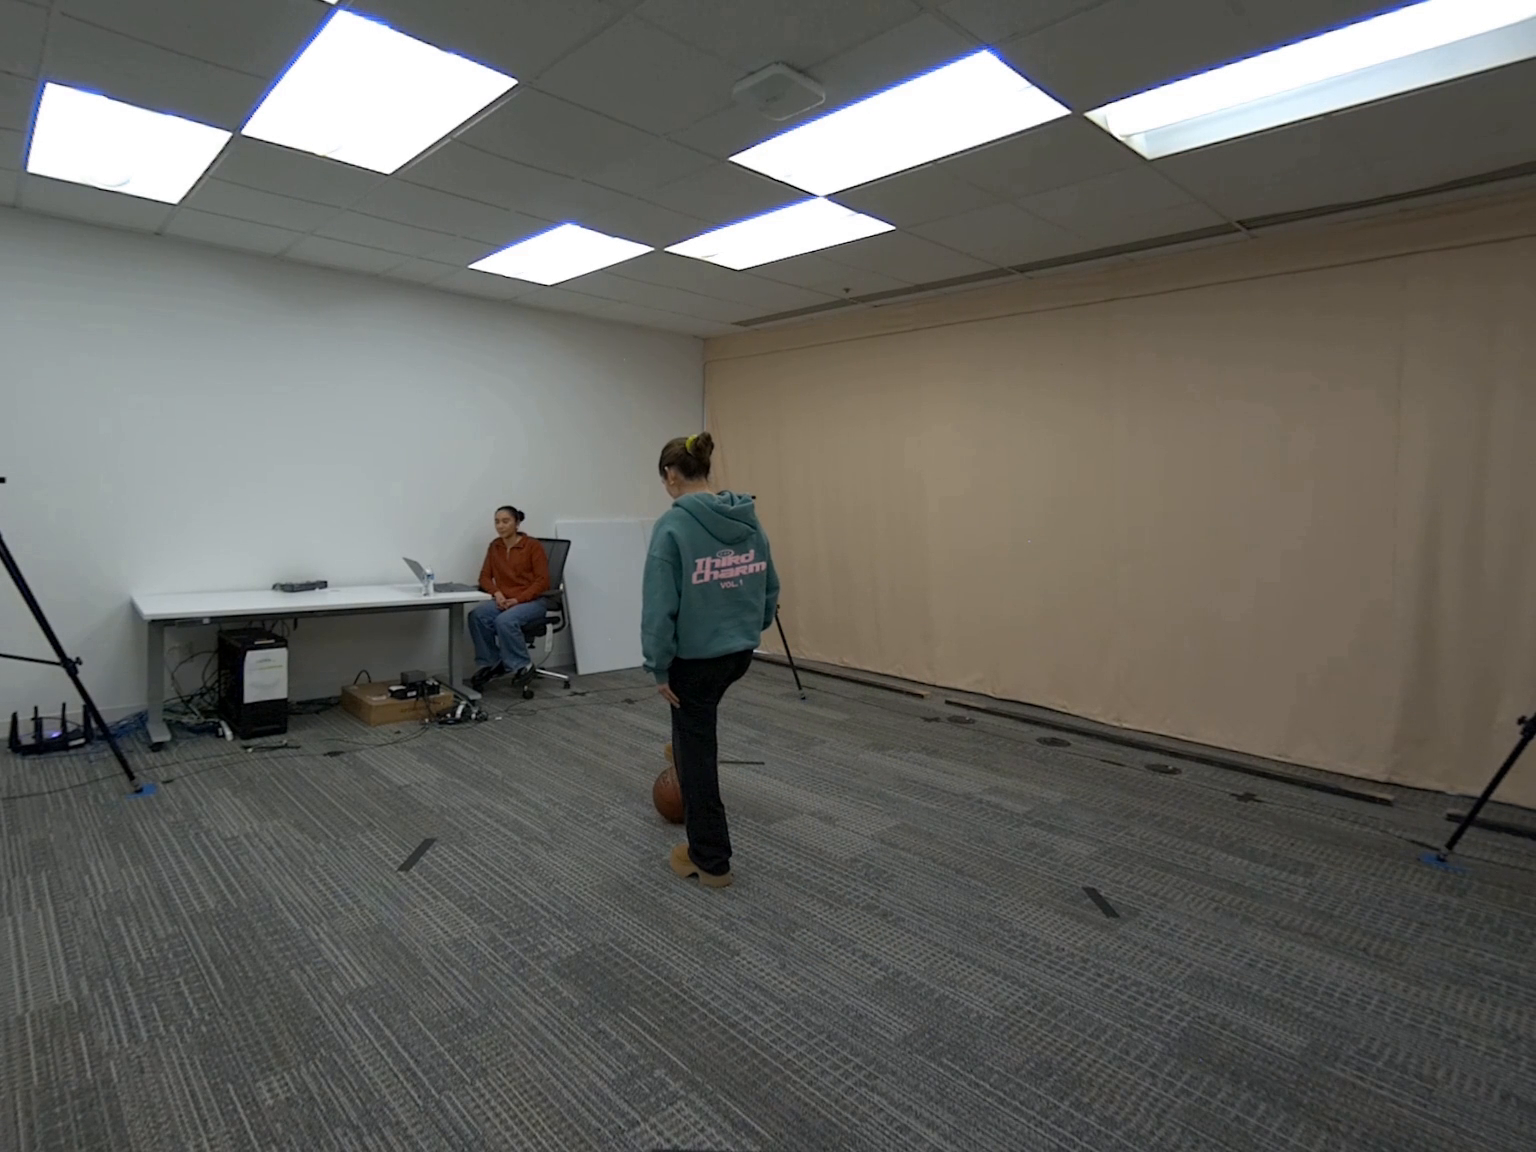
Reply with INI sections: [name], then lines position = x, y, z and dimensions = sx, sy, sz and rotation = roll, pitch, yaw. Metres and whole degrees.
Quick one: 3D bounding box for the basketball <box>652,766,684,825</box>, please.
[basketball]
position = -0.387, 0.933, 3.612
dimensions = 0.236, 0.235, 0.237
rotation = 1, 4, -1
